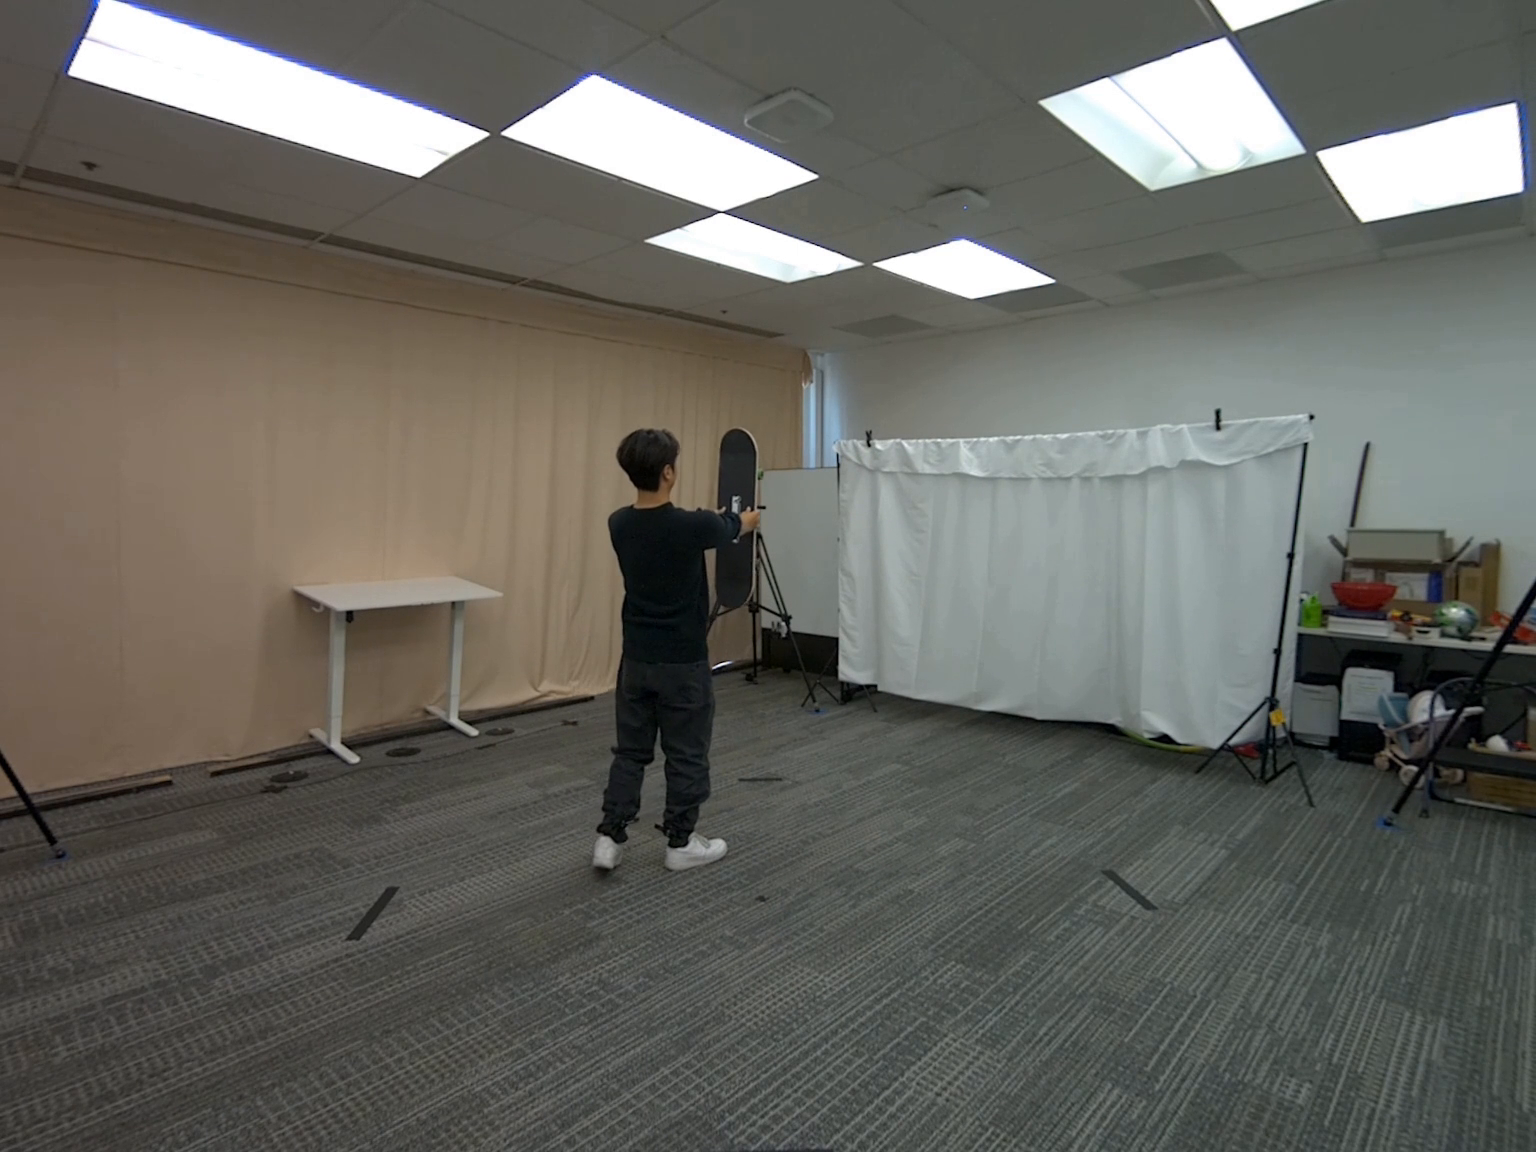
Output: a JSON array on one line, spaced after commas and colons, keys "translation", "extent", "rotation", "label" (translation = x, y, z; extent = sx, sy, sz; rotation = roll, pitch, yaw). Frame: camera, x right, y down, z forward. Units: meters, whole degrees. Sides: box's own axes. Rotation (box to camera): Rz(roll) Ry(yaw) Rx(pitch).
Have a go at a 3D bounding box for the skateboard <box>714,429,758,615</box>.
[{"translation": [-0.125, -0.246, 3.714], "extent": [0.199, 0.784, 0.107], "rotation": [2, 2, 29], "label": "skateboard"}]
